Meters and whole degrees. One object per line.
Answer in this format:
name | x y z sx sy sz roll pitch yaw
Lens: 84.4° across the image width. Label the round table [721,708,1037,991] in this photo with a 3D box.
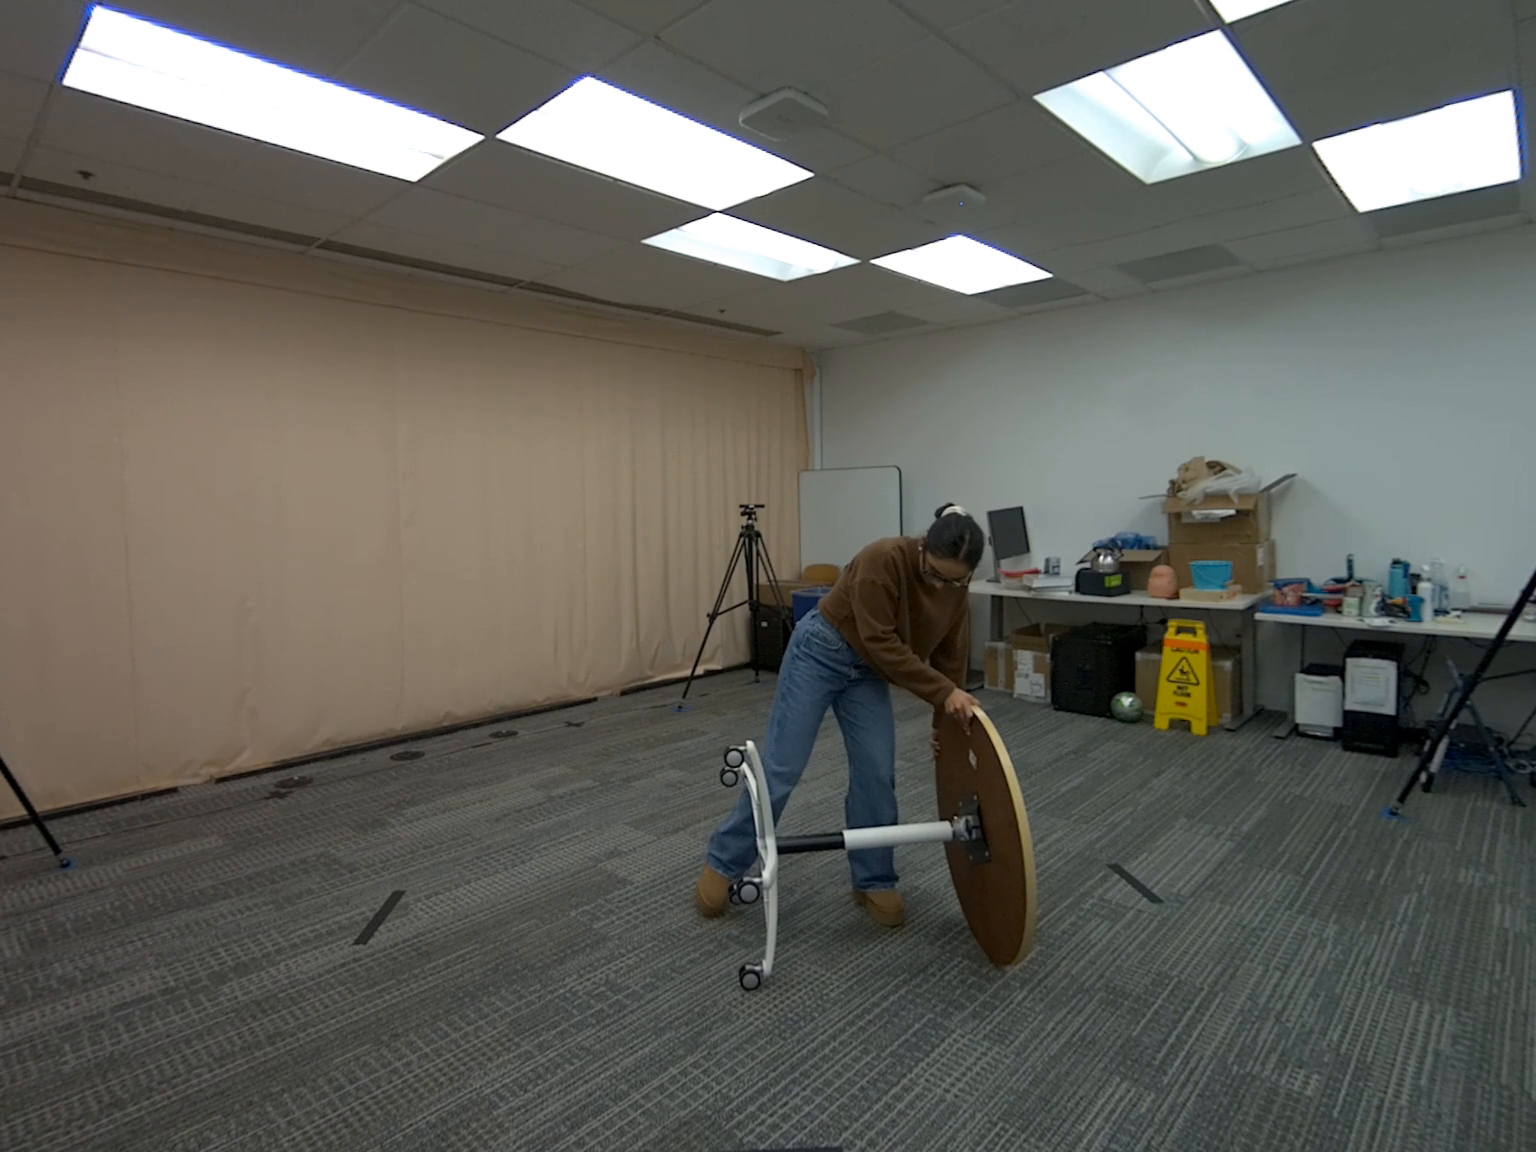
round table | 0.283 0.812 2.569 0.790 0.762 0.770 -5 4 -5
